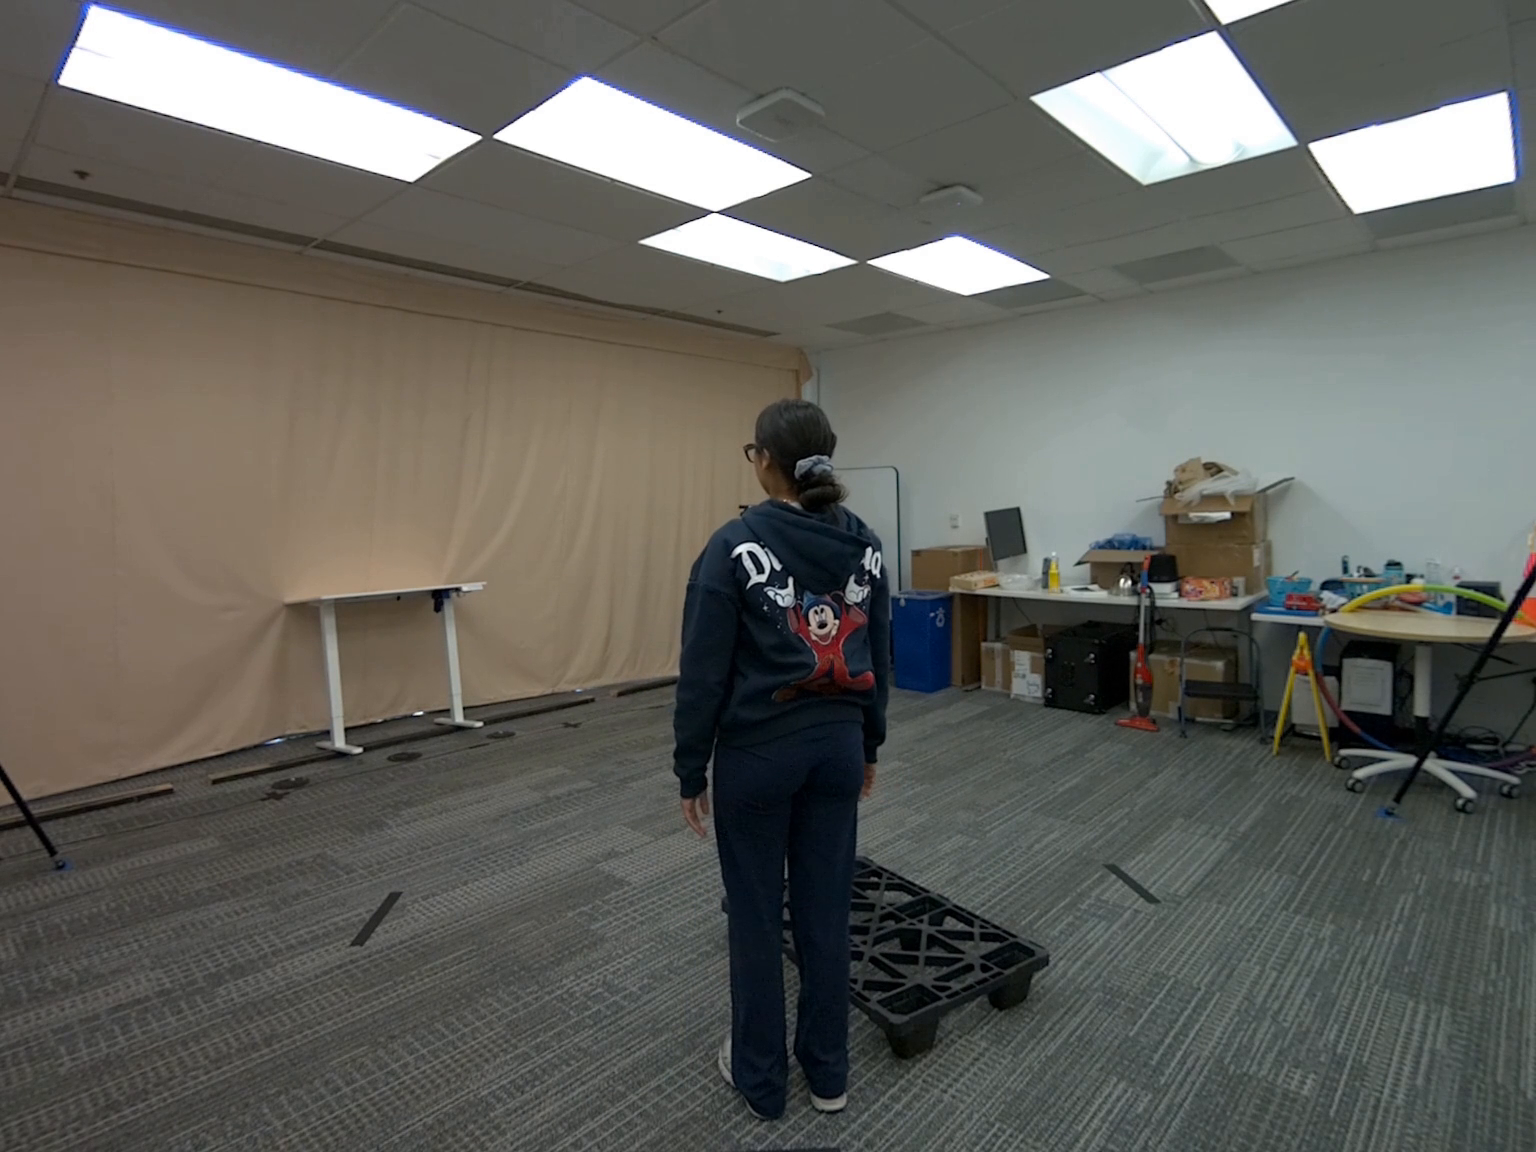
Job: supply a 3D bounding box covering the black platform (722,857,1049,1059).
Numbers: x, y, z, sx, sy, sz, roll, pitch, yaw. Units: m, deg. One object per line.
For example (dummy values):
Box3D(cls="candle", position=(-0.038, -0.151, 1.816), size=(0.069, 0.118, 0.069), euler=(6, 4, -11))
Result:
Box3D(cls="black platform", position=(0.322, 1.108, 2.521), size=(0.588, 0.143, 0.830), euler=(-5, 6, -34))
